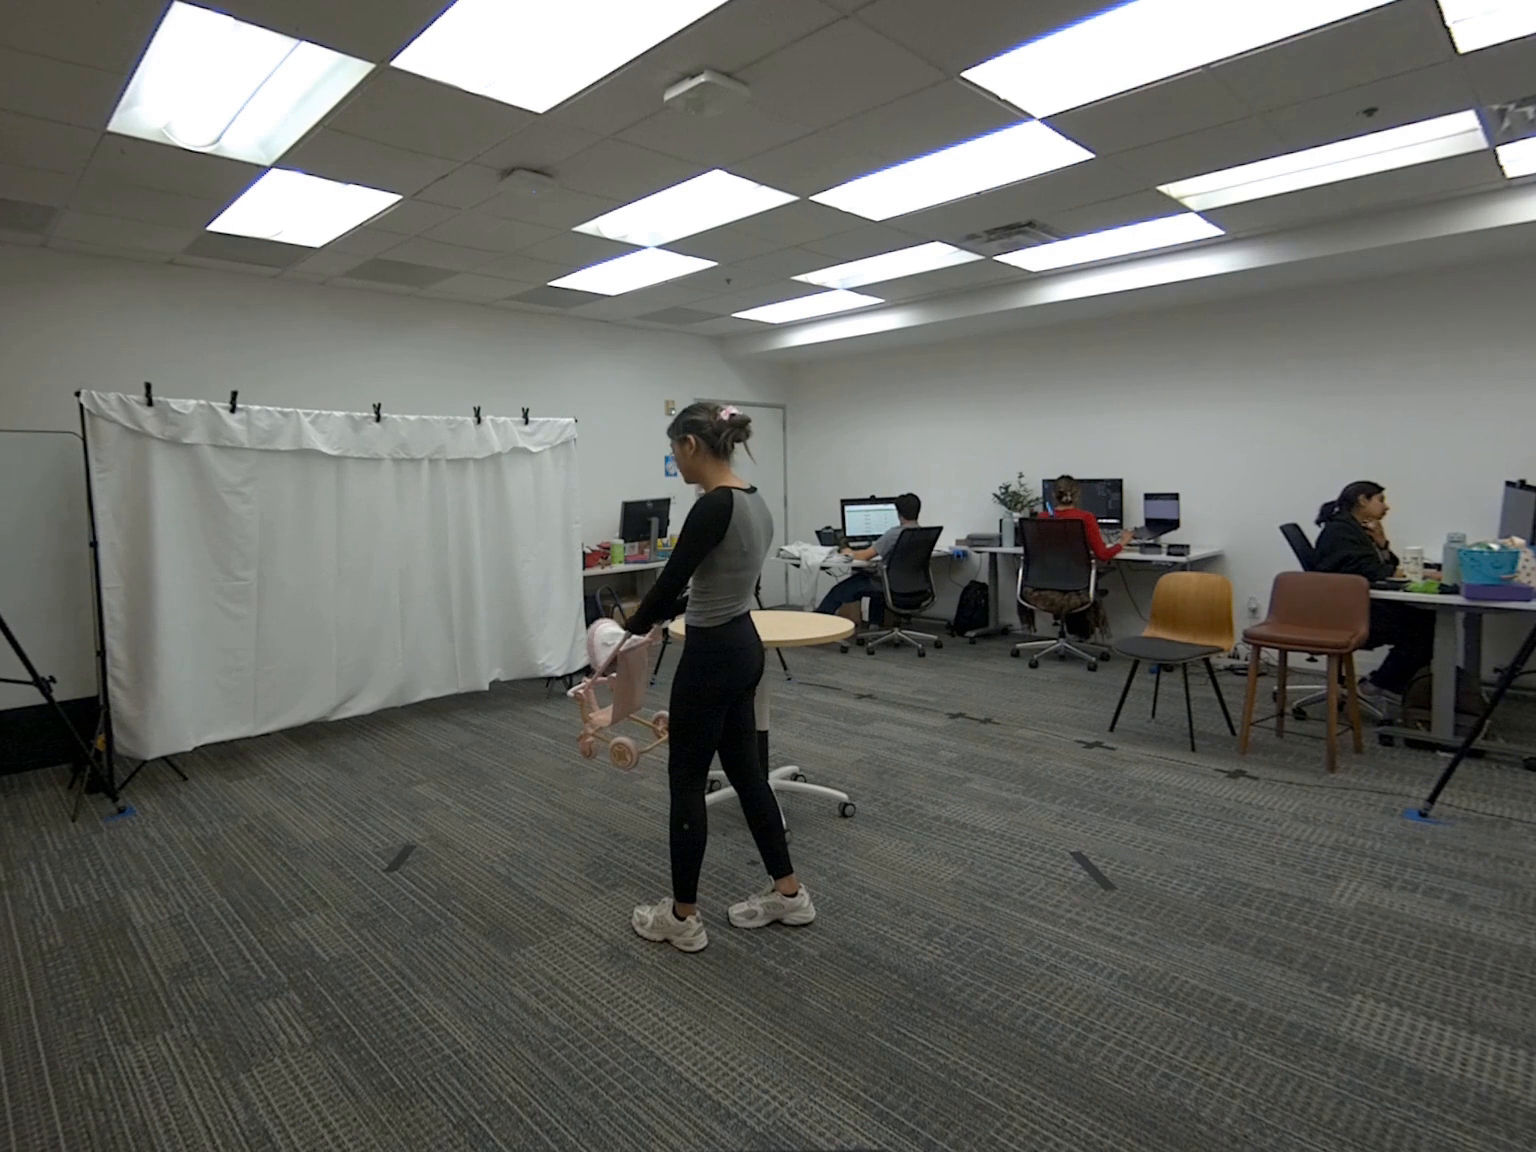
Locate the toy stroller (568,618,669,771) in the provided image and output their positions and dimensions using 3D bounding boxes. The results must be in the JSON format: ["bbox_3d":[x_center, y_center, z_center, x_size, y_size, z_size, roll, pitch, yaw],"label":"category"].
[{"bbox_3d":[-0.505,0.379,2.838,0.351,0.530,0.276,4,11,31],"label":"toy stroller"}]
